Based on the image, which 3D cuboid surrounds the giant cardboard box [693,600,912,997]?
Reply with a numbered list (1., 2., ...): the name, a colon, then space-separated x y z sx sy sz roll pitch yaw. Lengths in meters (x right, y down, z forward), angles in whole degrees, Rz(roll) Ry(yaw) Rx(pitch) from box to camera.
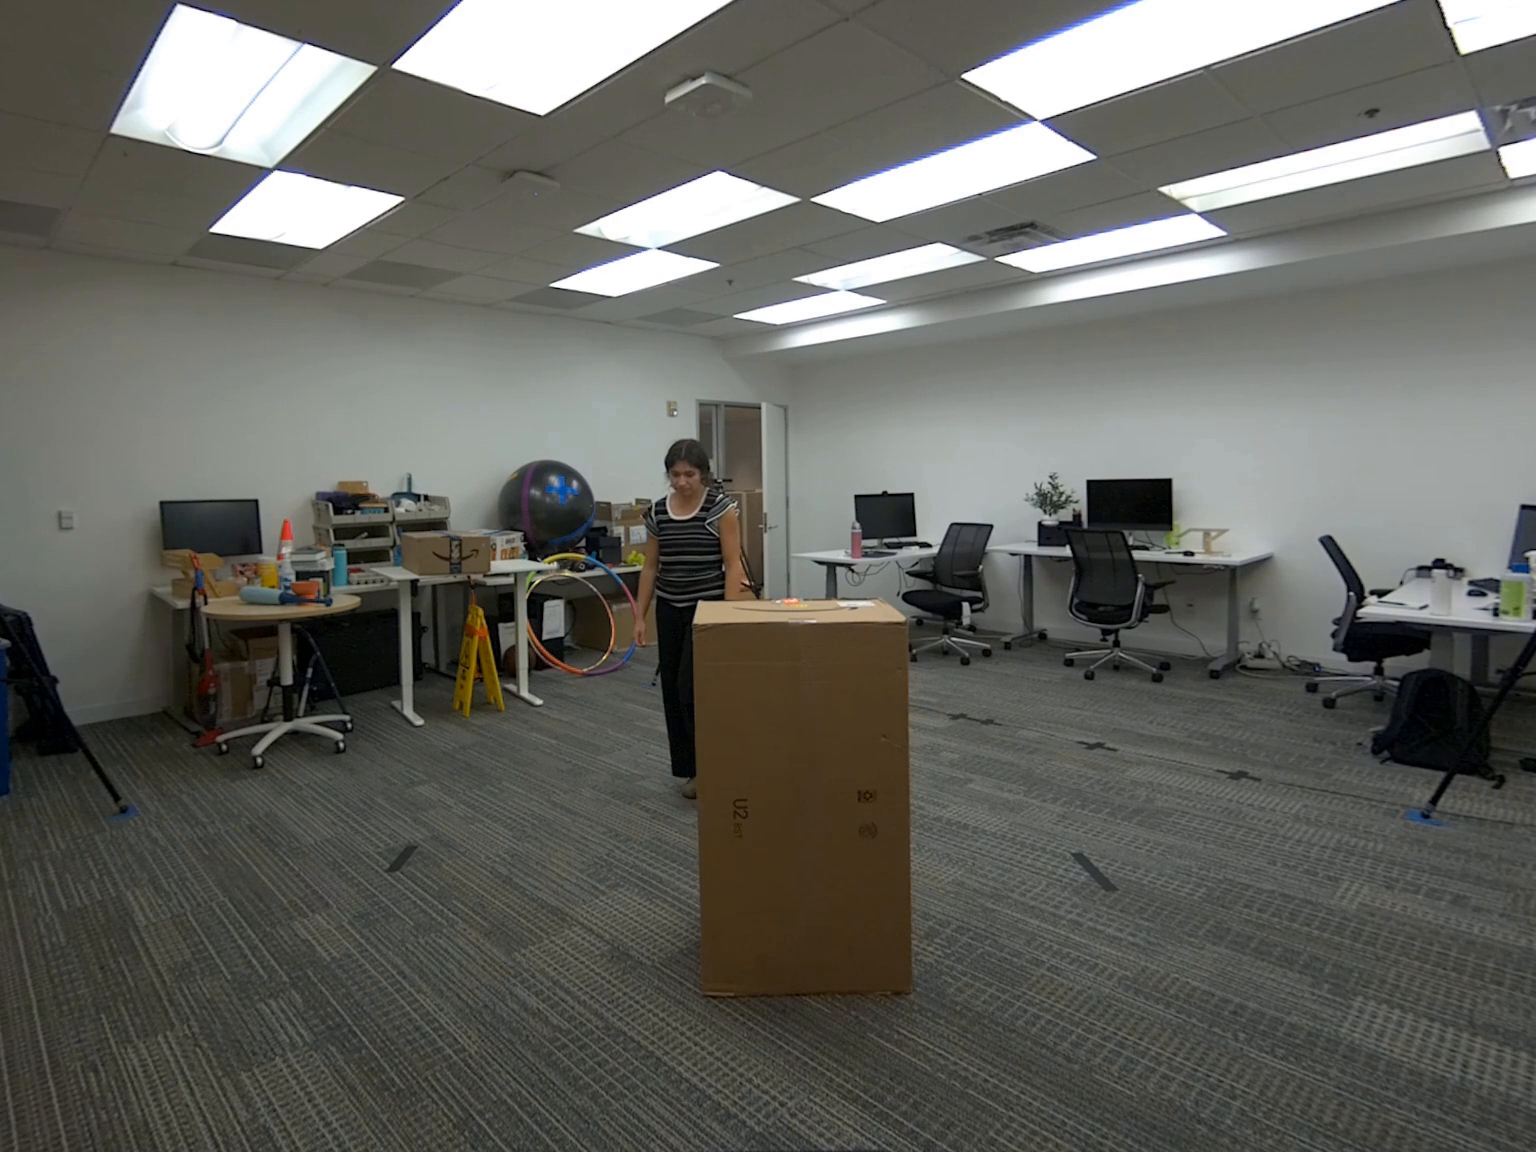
1. giant cardboard box: 0.092 0.603 2.487 0.578 1.022 0.427 -1 4 0
